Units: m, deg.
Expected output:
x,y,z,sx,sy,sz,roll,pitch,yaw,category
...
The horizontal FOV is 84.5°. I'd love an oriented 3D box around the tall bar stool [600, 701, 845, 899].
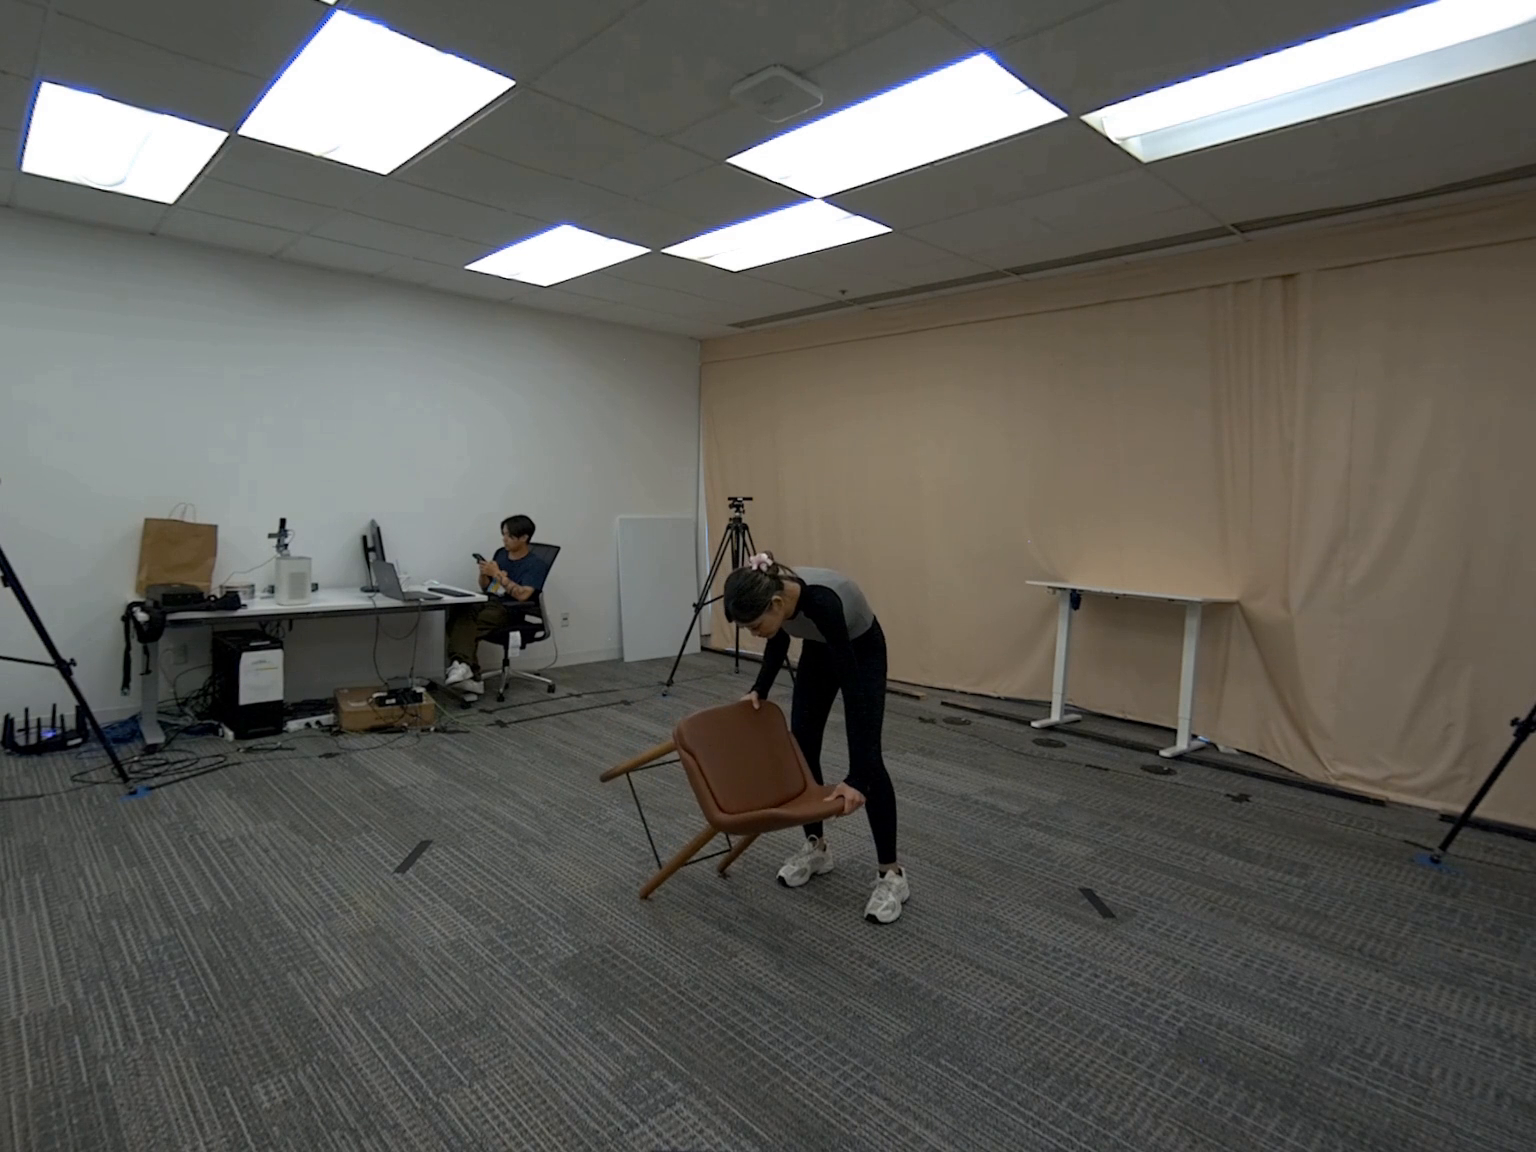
x,y,z,sx,sy,sz,roll,pitch,yaw,category
-0.148,0.708,2.829,0.446,0.477,0.891,-2,-29,-40,tall bar stool
